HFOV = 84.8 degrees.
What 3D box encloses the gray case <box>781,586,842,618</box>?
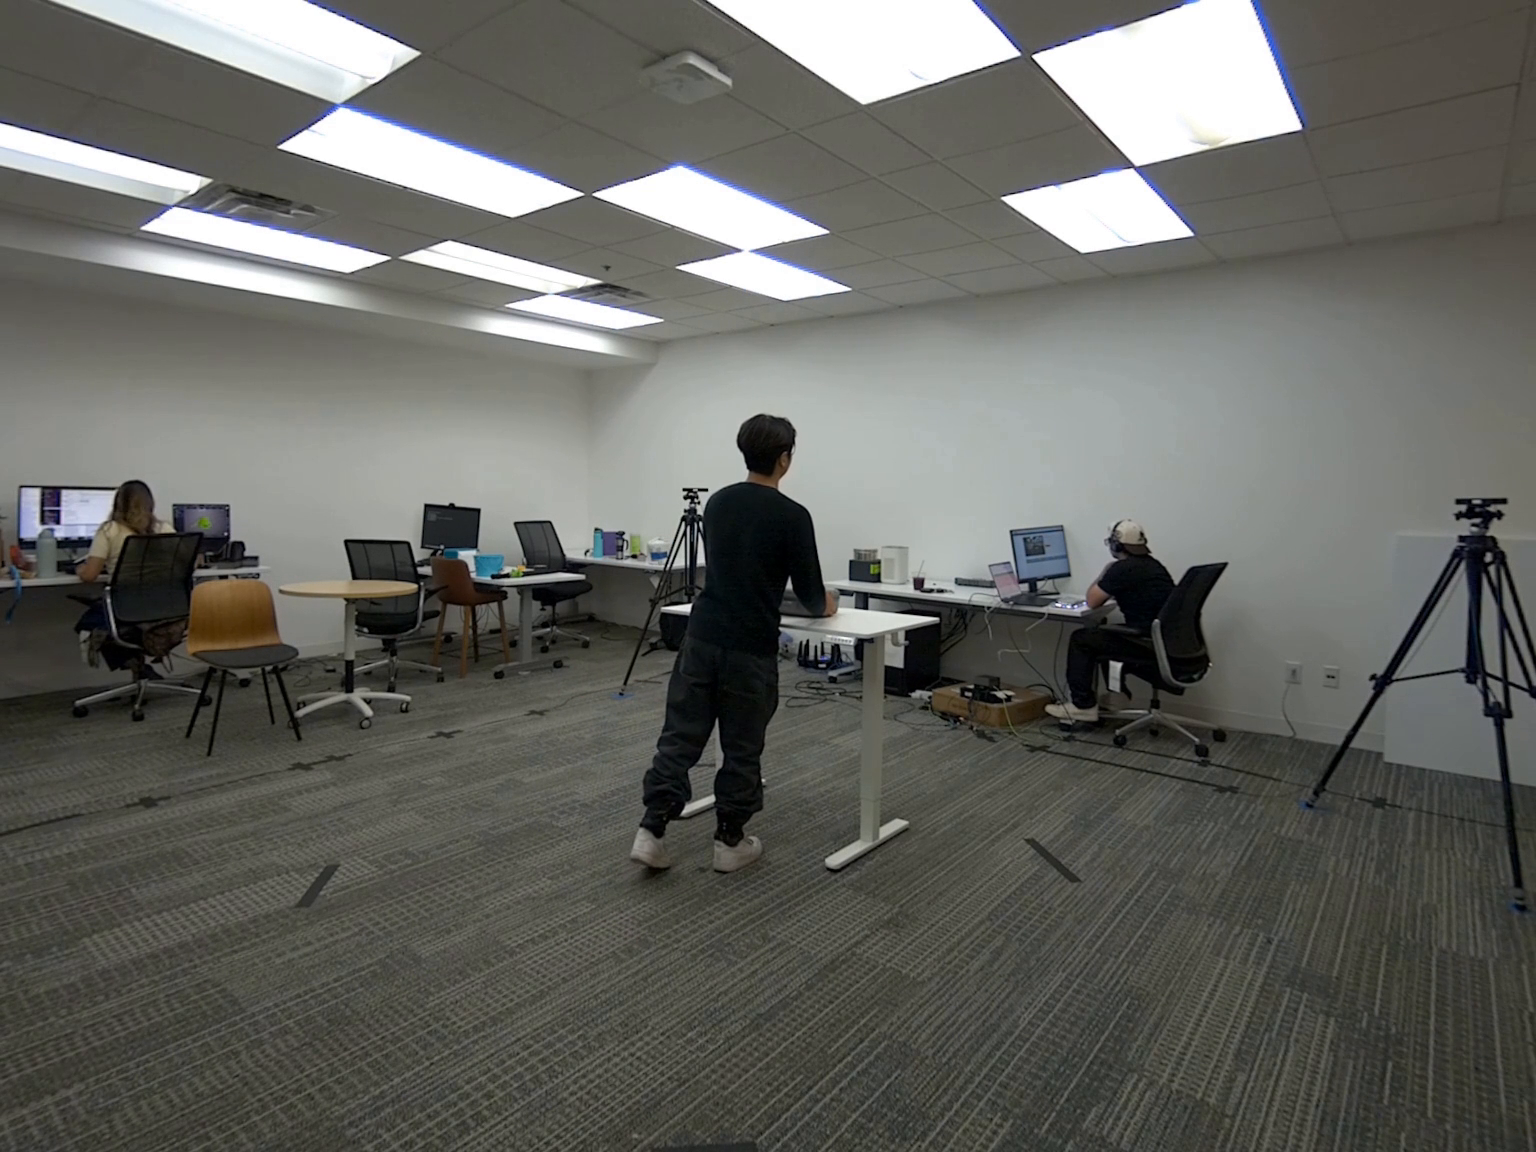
[{"bbox_3d":[0.127,0.097,3.527,0.265,0.104,0.253,5,3,33],"label":"gray case"}]
